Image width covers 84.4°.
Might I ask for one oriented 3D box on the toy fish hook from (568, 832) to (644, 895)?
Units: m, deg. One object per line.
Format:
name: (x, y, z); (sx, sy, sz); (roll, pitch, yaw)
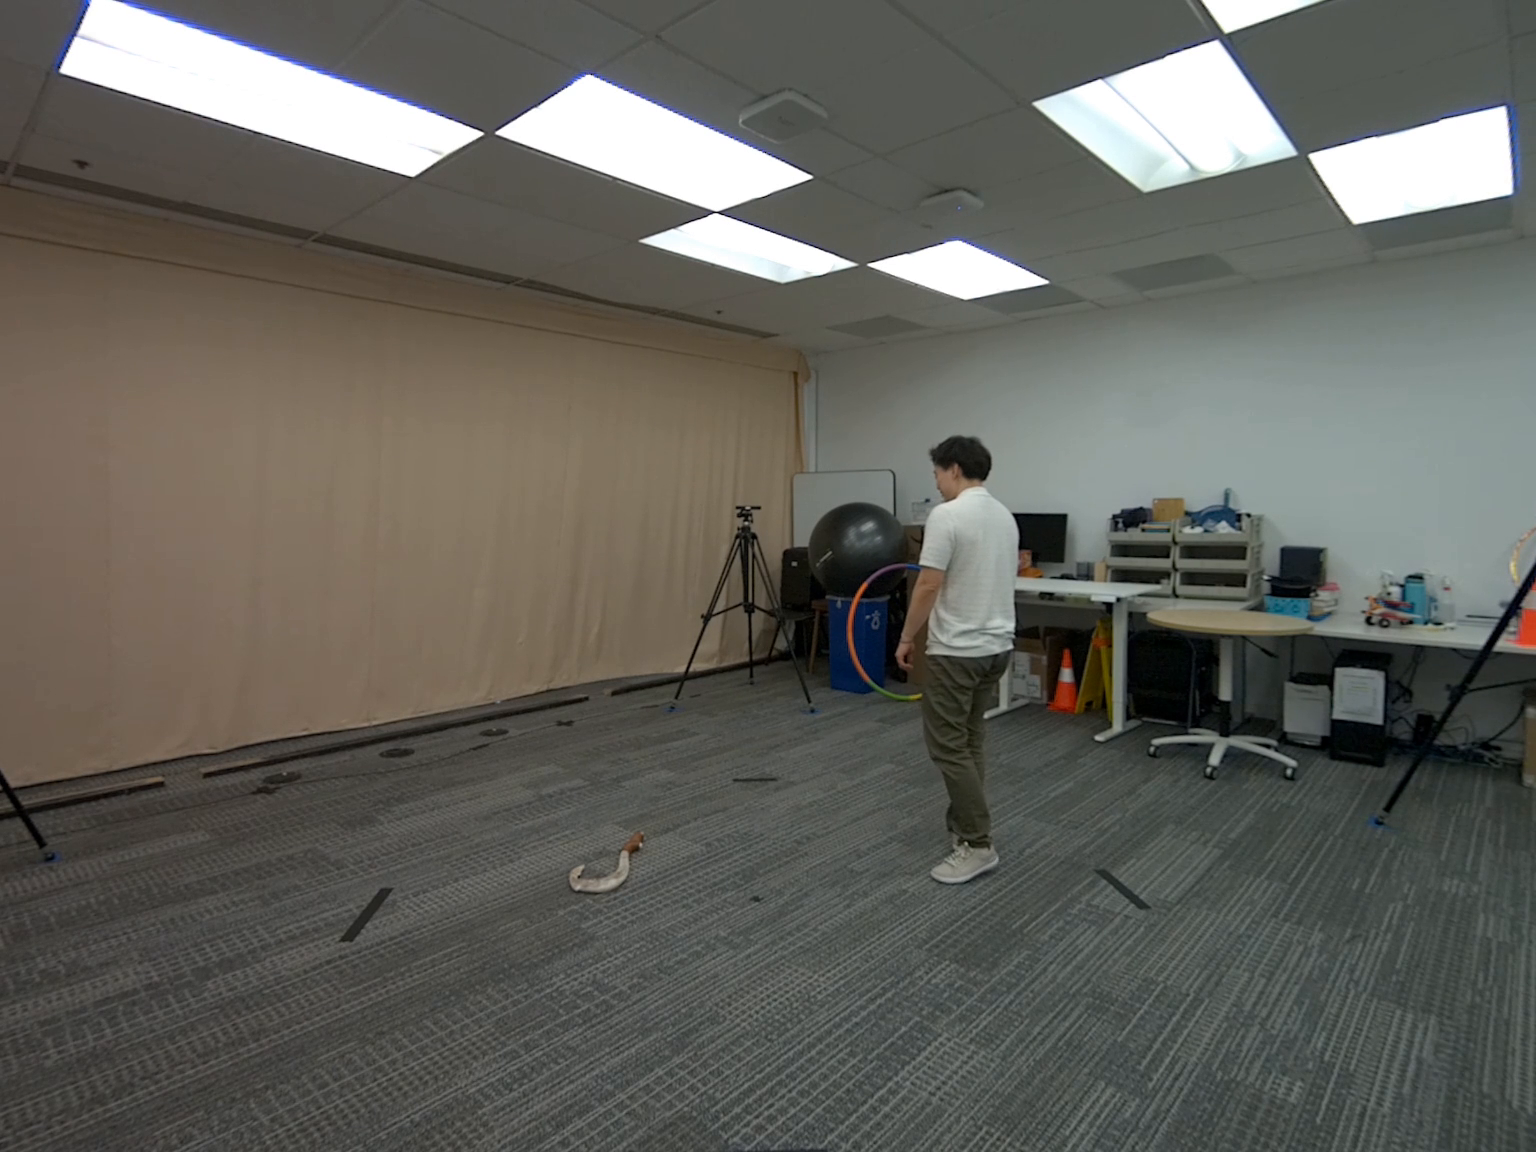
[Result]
toy fish hook: (-0.618, 1.101, 3.274); (0.227, 0.048, 0.502); (1, 5, 8)
